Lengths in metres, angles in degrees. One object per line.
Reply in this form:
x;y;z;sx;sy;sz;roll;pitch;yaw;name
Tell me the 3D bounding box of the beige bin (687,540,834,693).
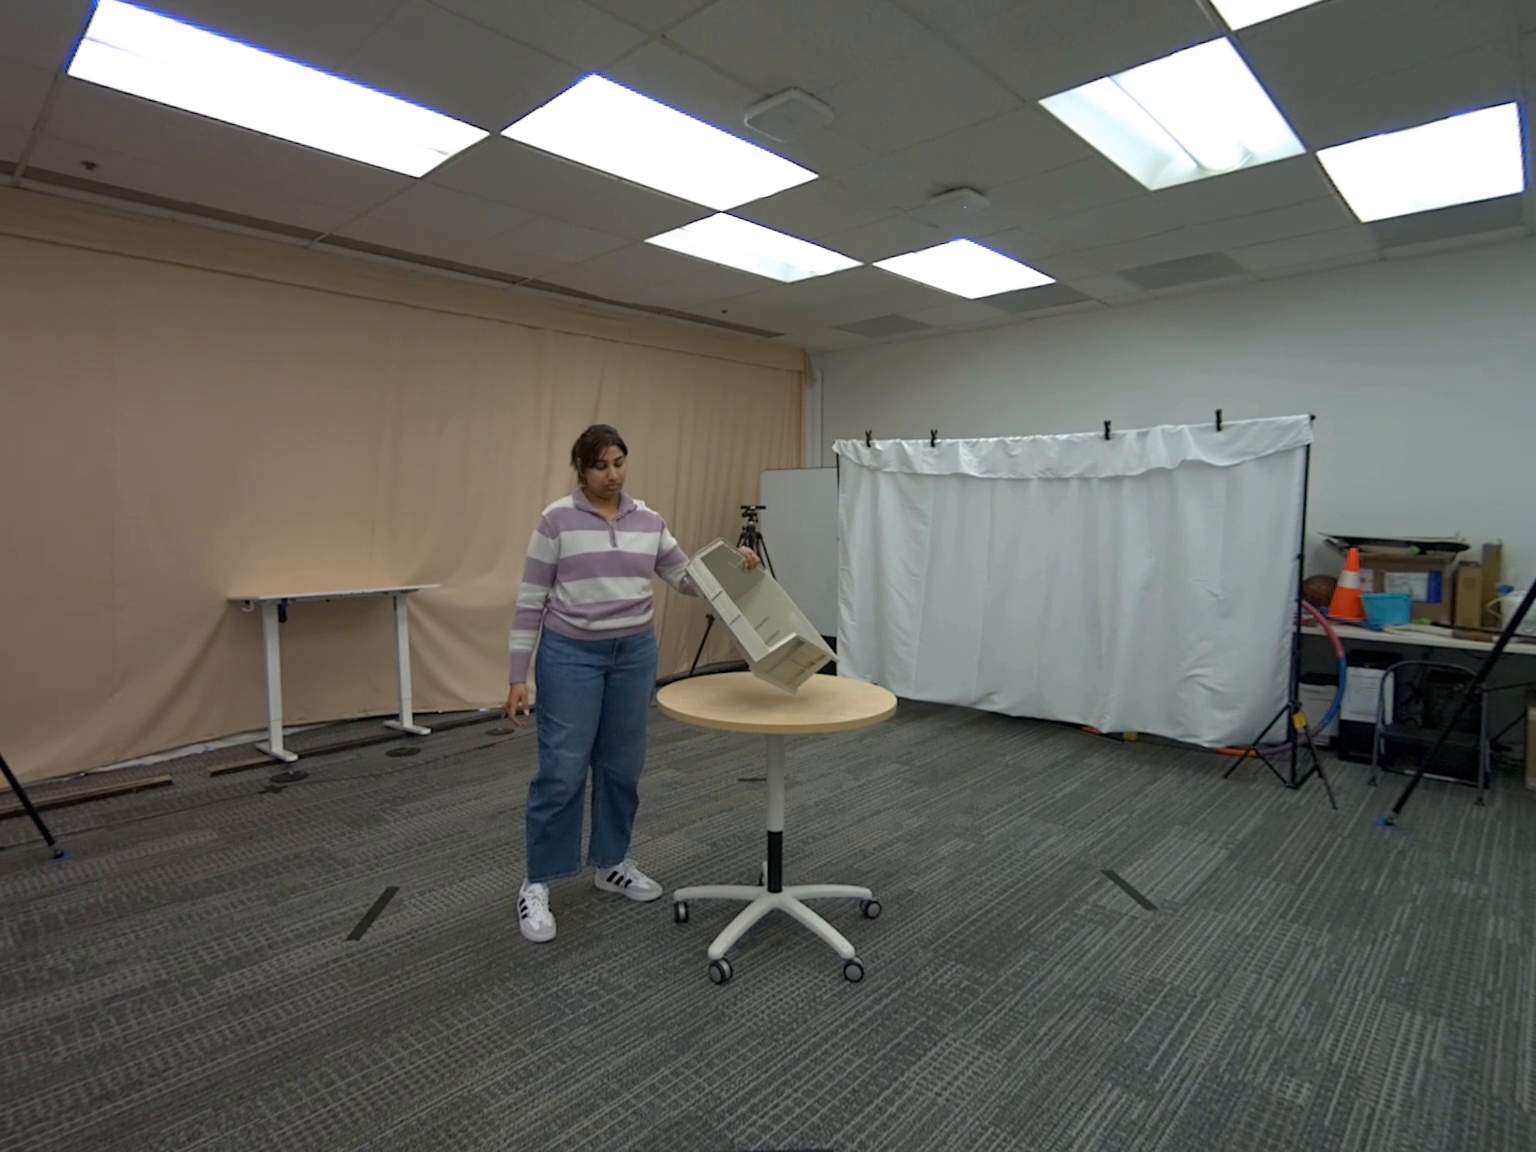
-0.031;0.127;2.626;0.436;0.189;0.365;50;7;31;beige bin
